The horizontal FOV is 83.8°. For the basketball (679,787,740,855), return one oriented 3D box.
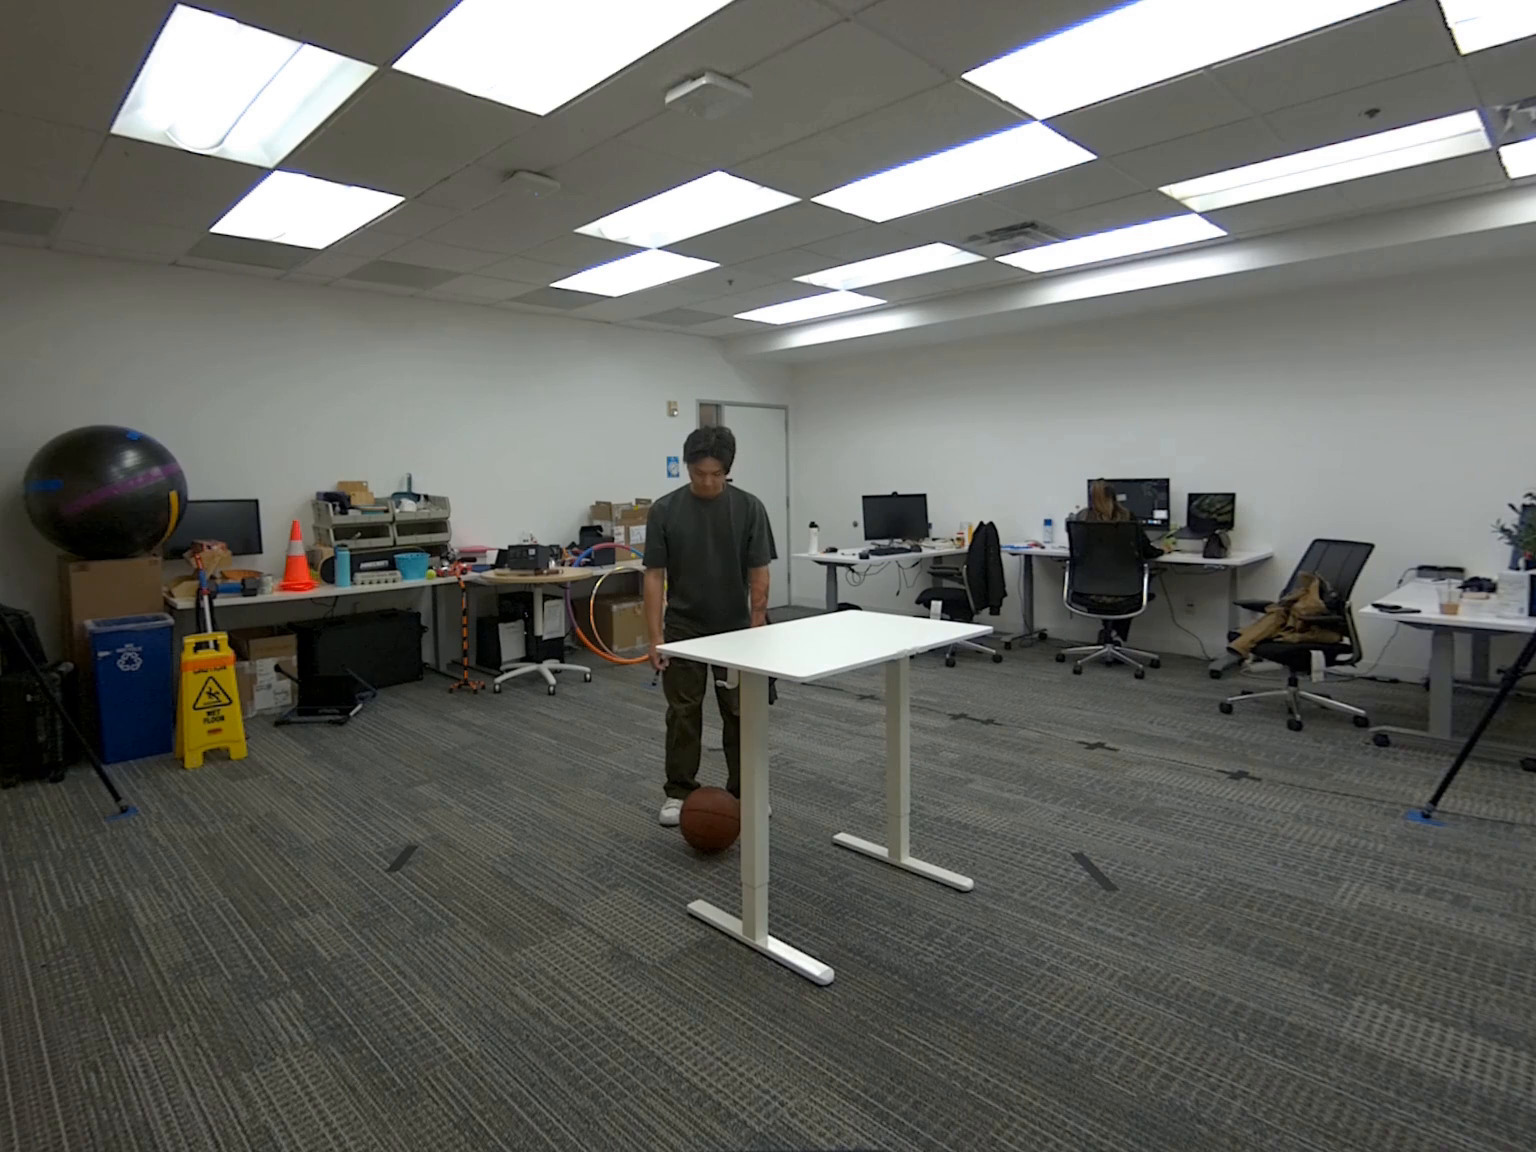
[{"bbox_3d":[-0.215,0.917,3.216,0.236,0.235,0.237,-1,5,-2],"label":"basketball"}]
